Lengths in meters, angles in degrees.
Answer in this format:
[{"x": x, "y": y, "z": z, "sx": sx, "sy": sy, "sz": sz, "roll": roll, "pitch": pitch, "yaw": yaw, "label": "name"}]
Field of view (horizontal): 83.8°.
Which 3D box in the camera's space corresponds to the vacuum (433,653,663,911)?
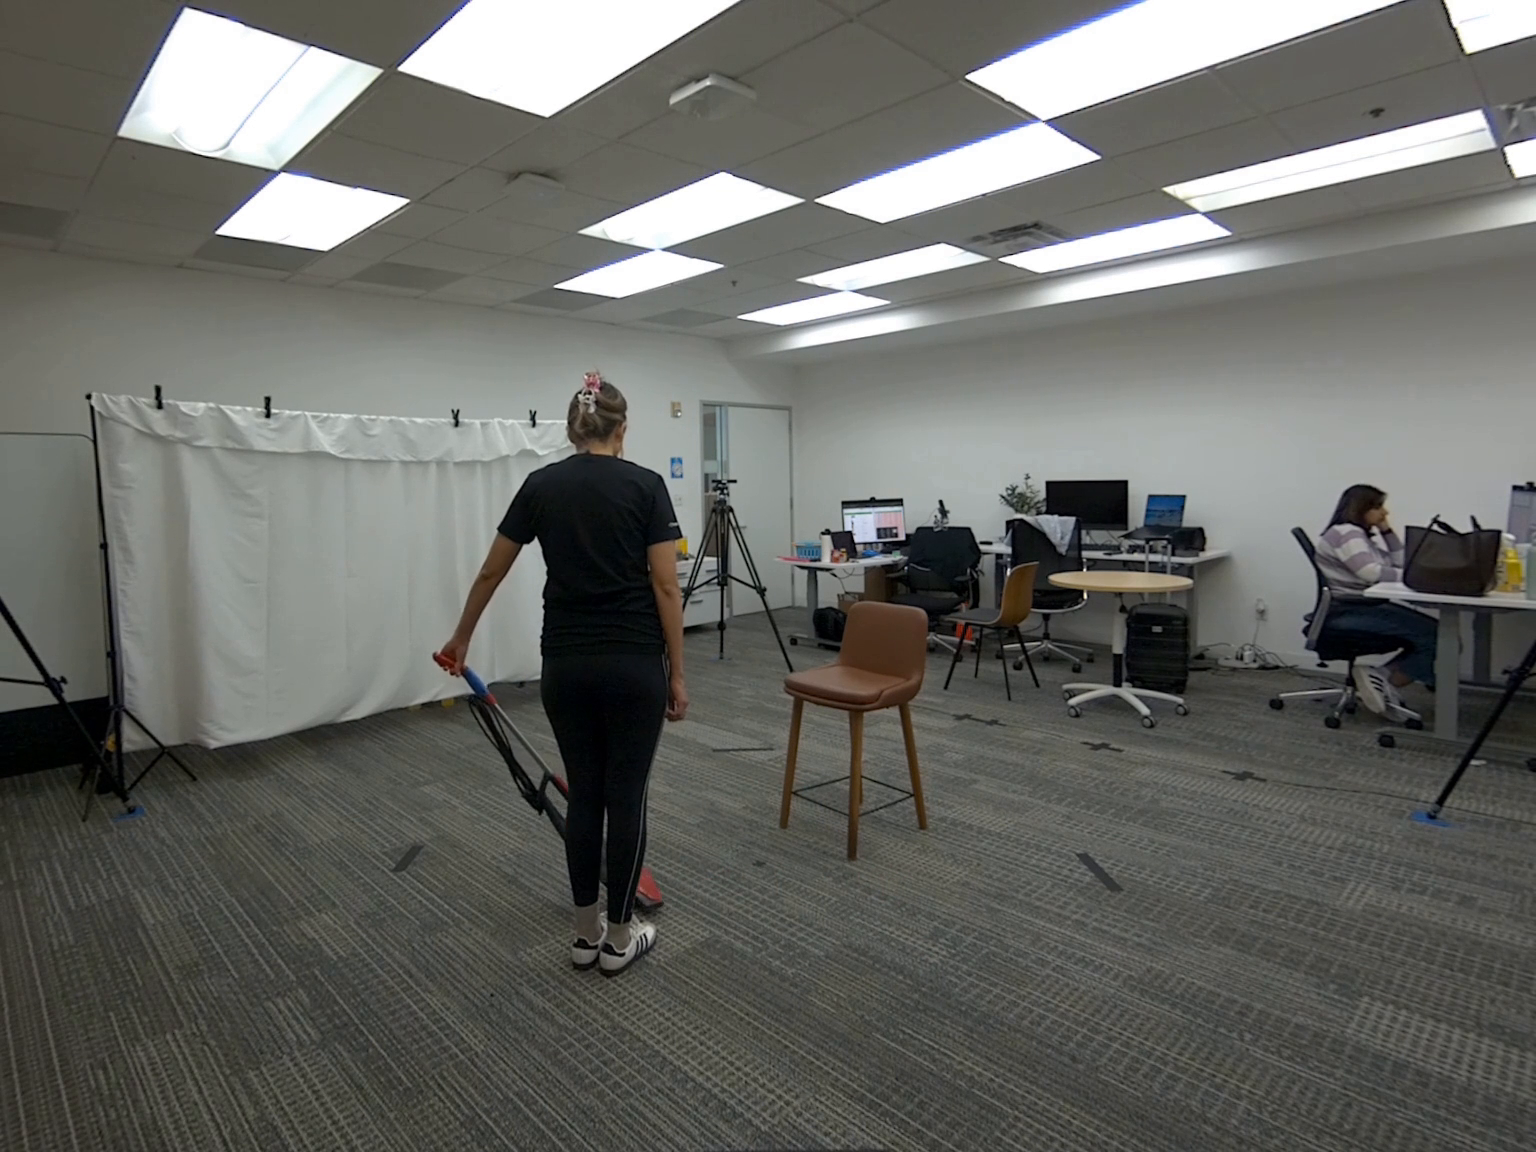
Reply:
[{"x": -0.730, "y": 0.665, "z": 2.747, "sx": 0.144, "sy": 1.034, "sz": 0.257, "roll": -39, "pitch": 12, "yaw": -12, "label": "vacuum"}]
